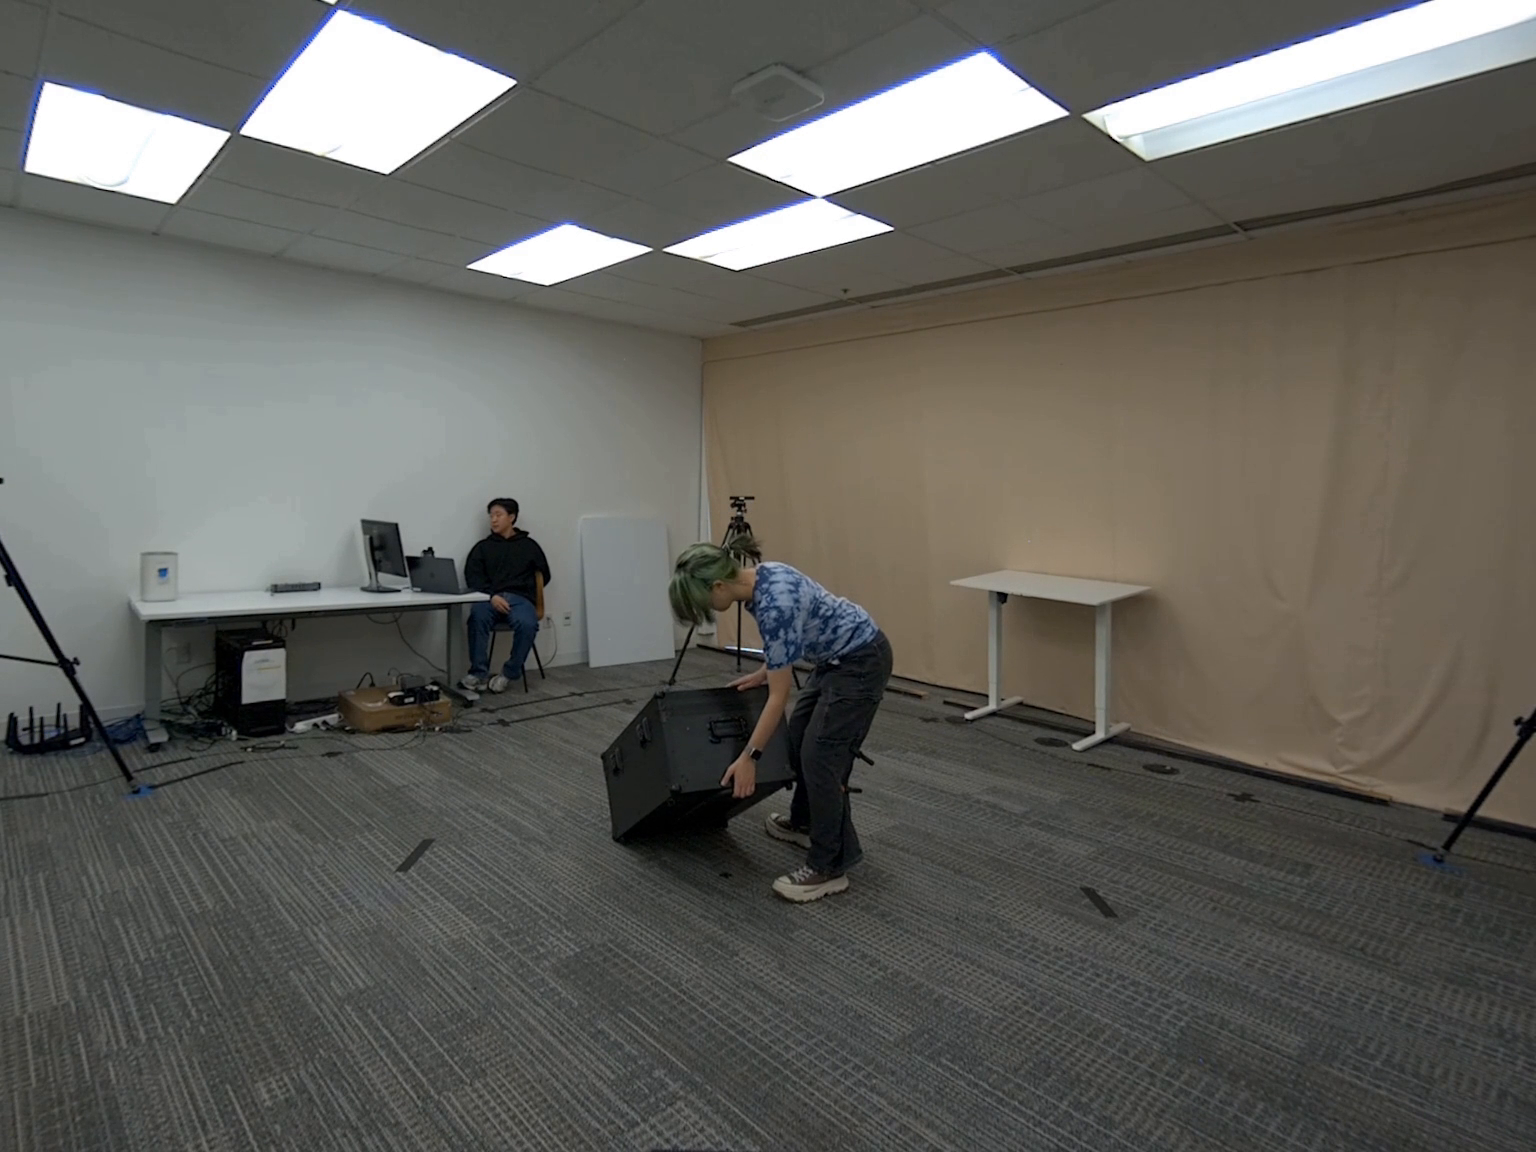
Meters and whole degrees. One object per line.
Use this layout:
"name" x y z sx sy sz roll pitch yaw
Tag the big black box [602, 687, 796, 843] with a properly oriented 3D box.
"big black box" -0.310 0.754 3.275 0.512 0.404 0.860 -1 -25 -25
